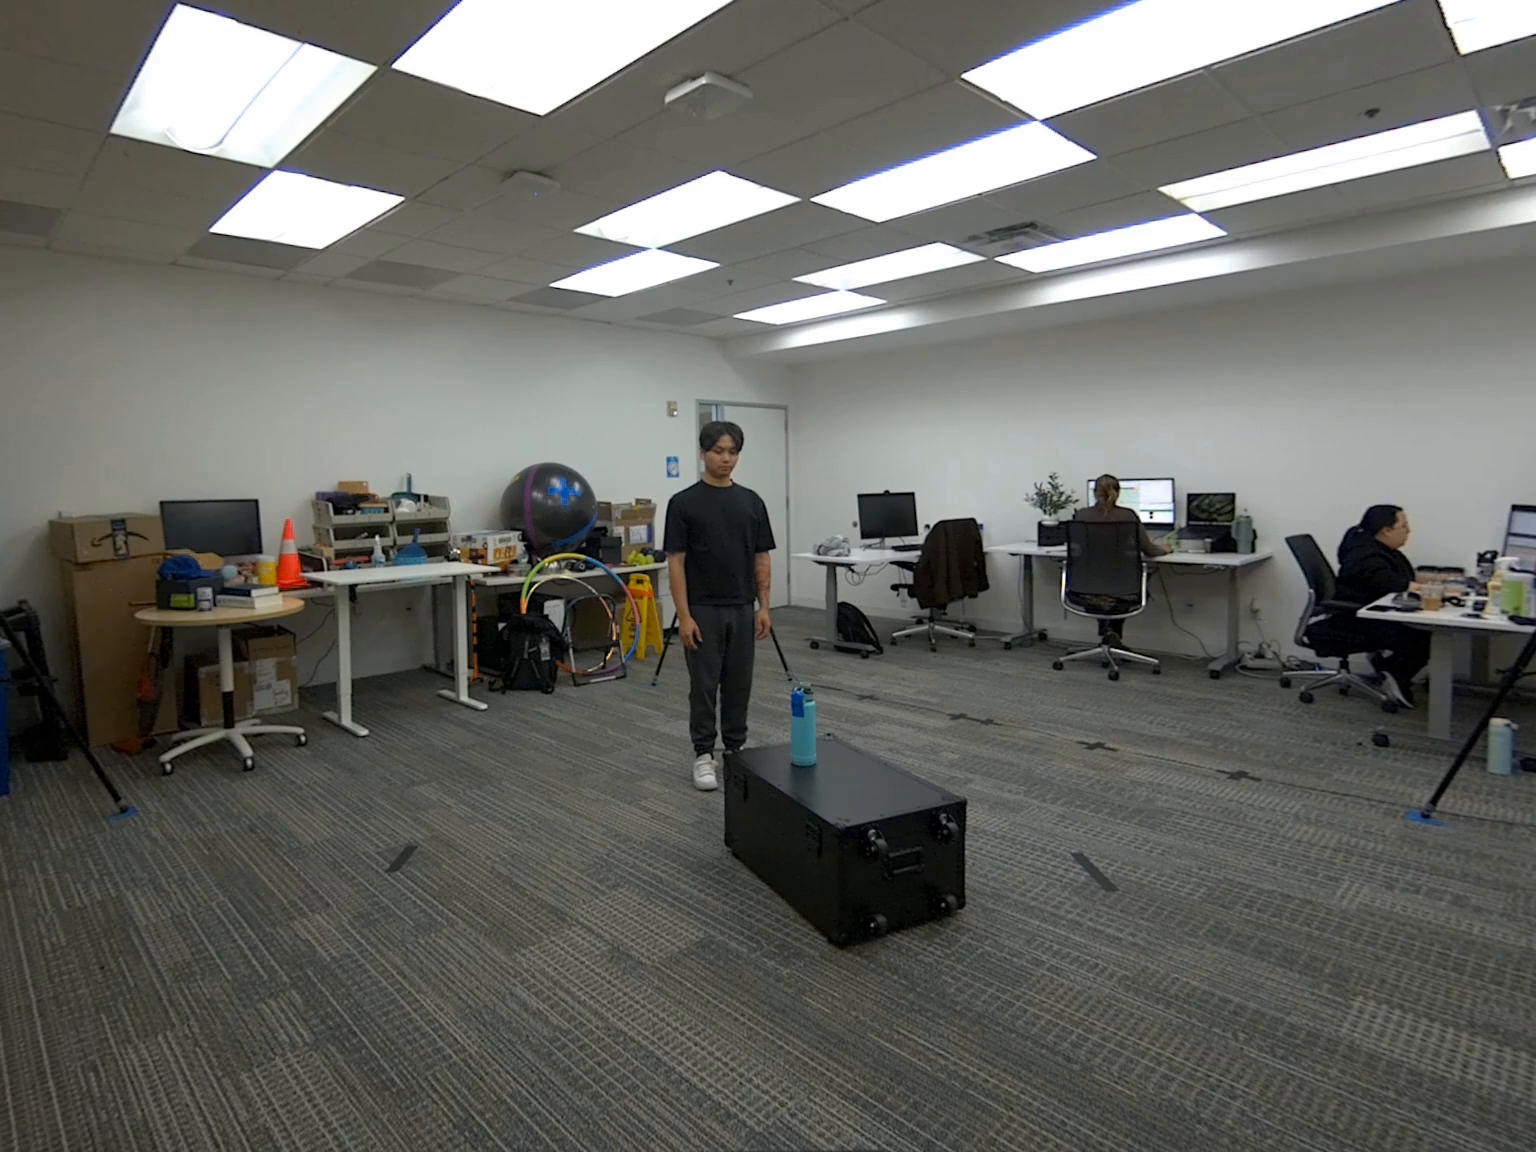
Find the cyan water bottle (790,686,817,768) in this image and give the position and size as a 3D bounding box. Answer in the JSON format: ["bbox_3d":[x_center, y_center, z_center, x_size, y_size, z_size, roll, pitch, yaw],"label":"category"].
[{"bbox_3d":[0.127,0.528,3.071,0.092,0.282,0.093,-2,5,-1],"label":"cyan water bottle"}]
